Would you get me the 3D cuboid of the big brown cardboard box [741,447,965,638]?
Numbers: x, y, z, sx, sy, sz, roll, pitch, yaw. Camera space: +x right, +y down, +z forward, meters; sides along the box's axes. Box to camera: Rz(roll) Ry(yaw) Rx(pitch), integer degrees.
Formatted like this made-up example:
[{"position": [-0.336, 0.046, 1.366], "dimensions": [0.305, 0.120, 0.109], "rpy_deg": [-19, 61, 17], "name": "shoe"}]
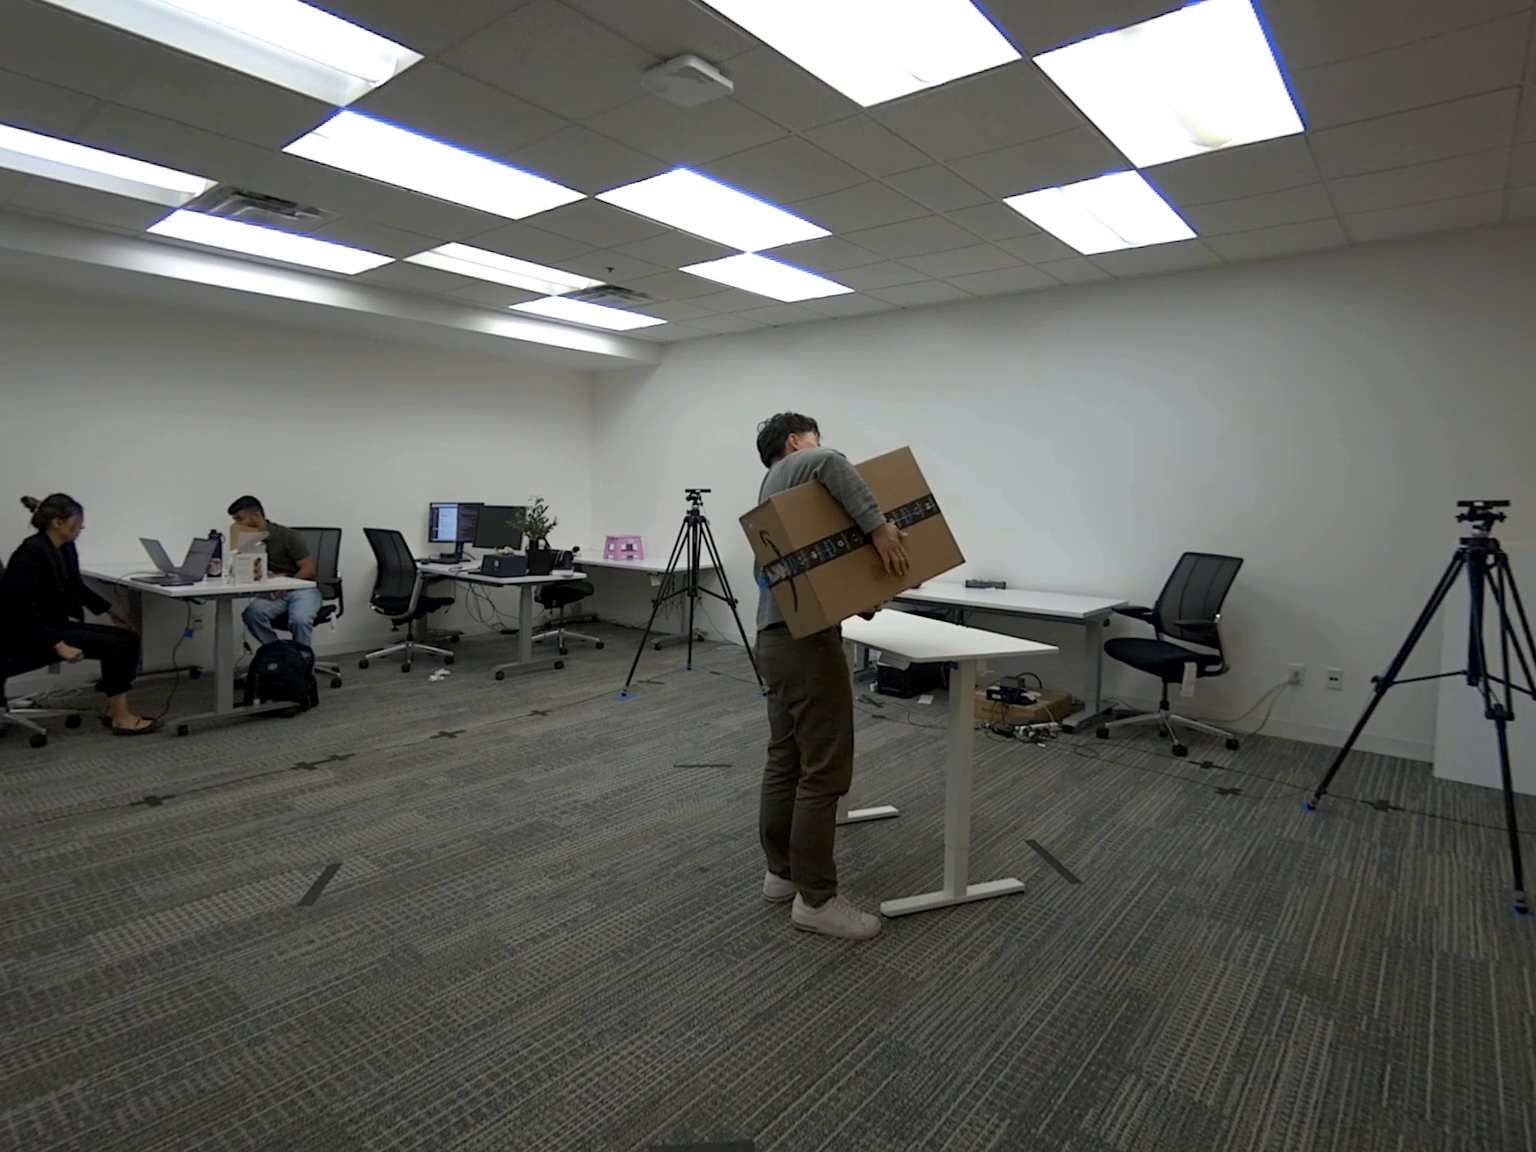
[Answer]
[{"position": [0.256, -0.108, 2.653], "dimensions": [0.580, 0.421, 0.235], "rpy_deg": [-22, -5, -28], "name": "big brown cardboard box"}]
